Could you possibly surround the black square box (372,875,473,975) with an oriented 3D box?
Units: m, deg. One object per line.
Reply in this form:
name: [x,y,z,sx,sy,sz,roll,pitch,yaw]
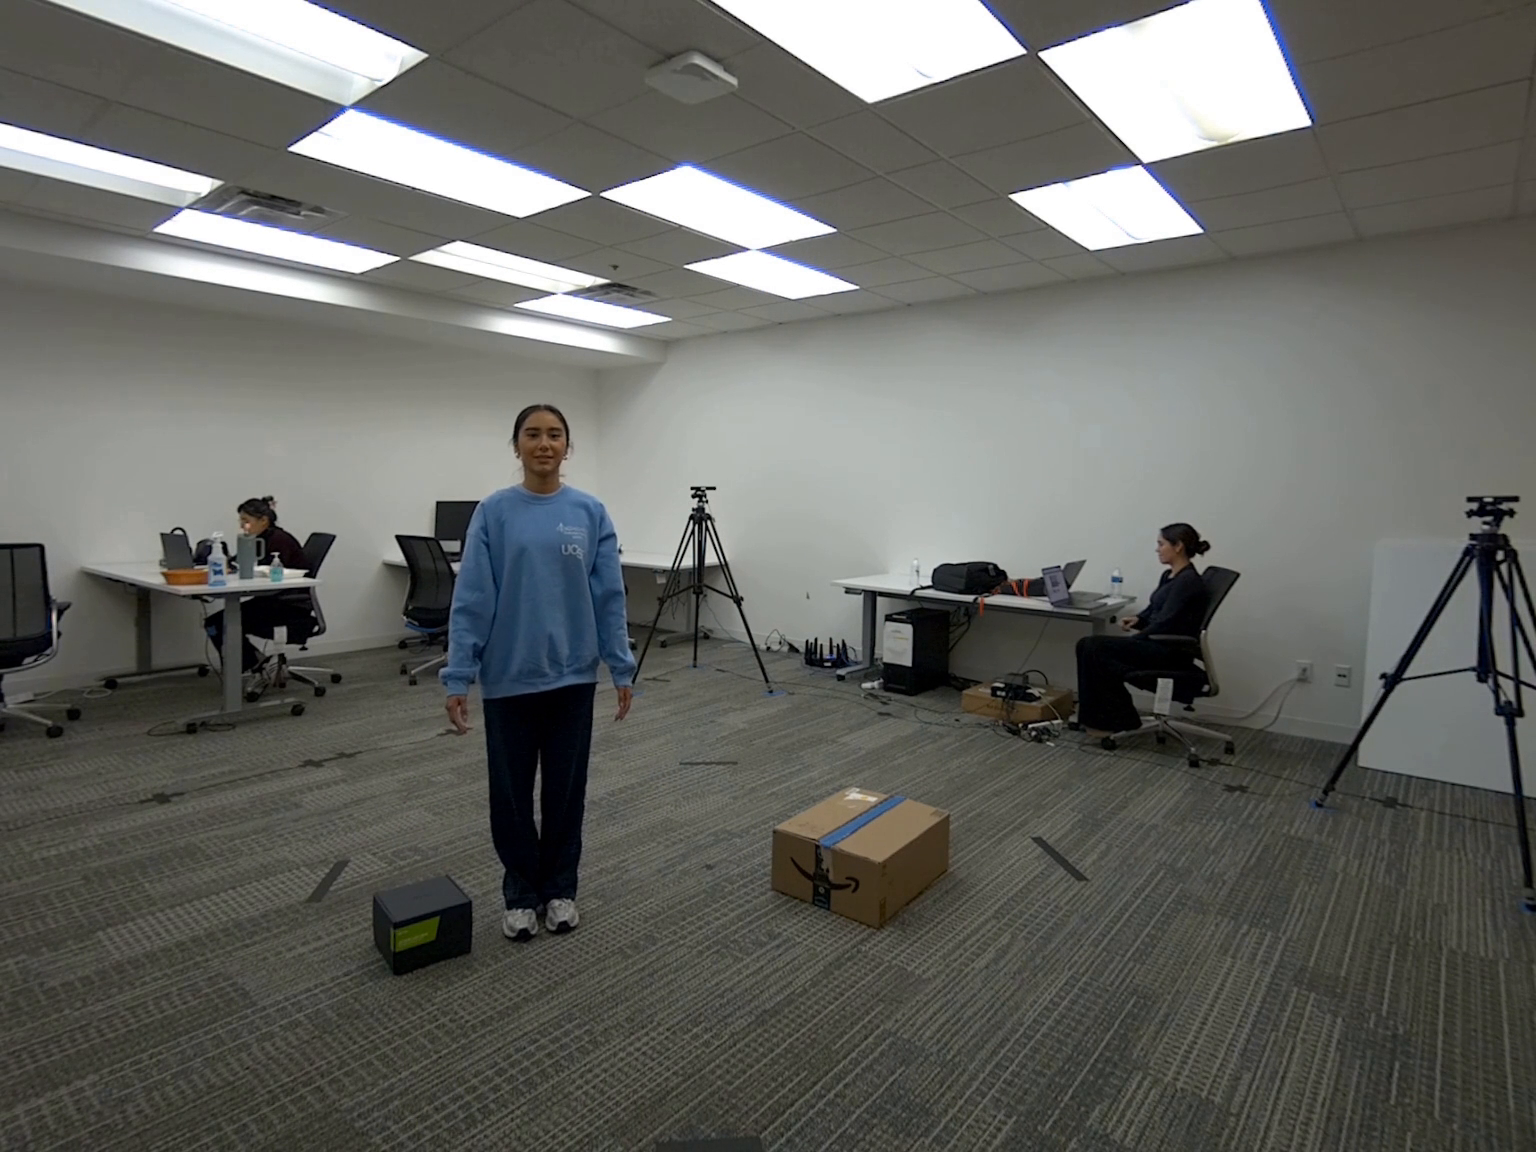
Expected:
black square box: [-1.046,1.029,2.541,0.221,0.155,0.224,-3,7,-40]
